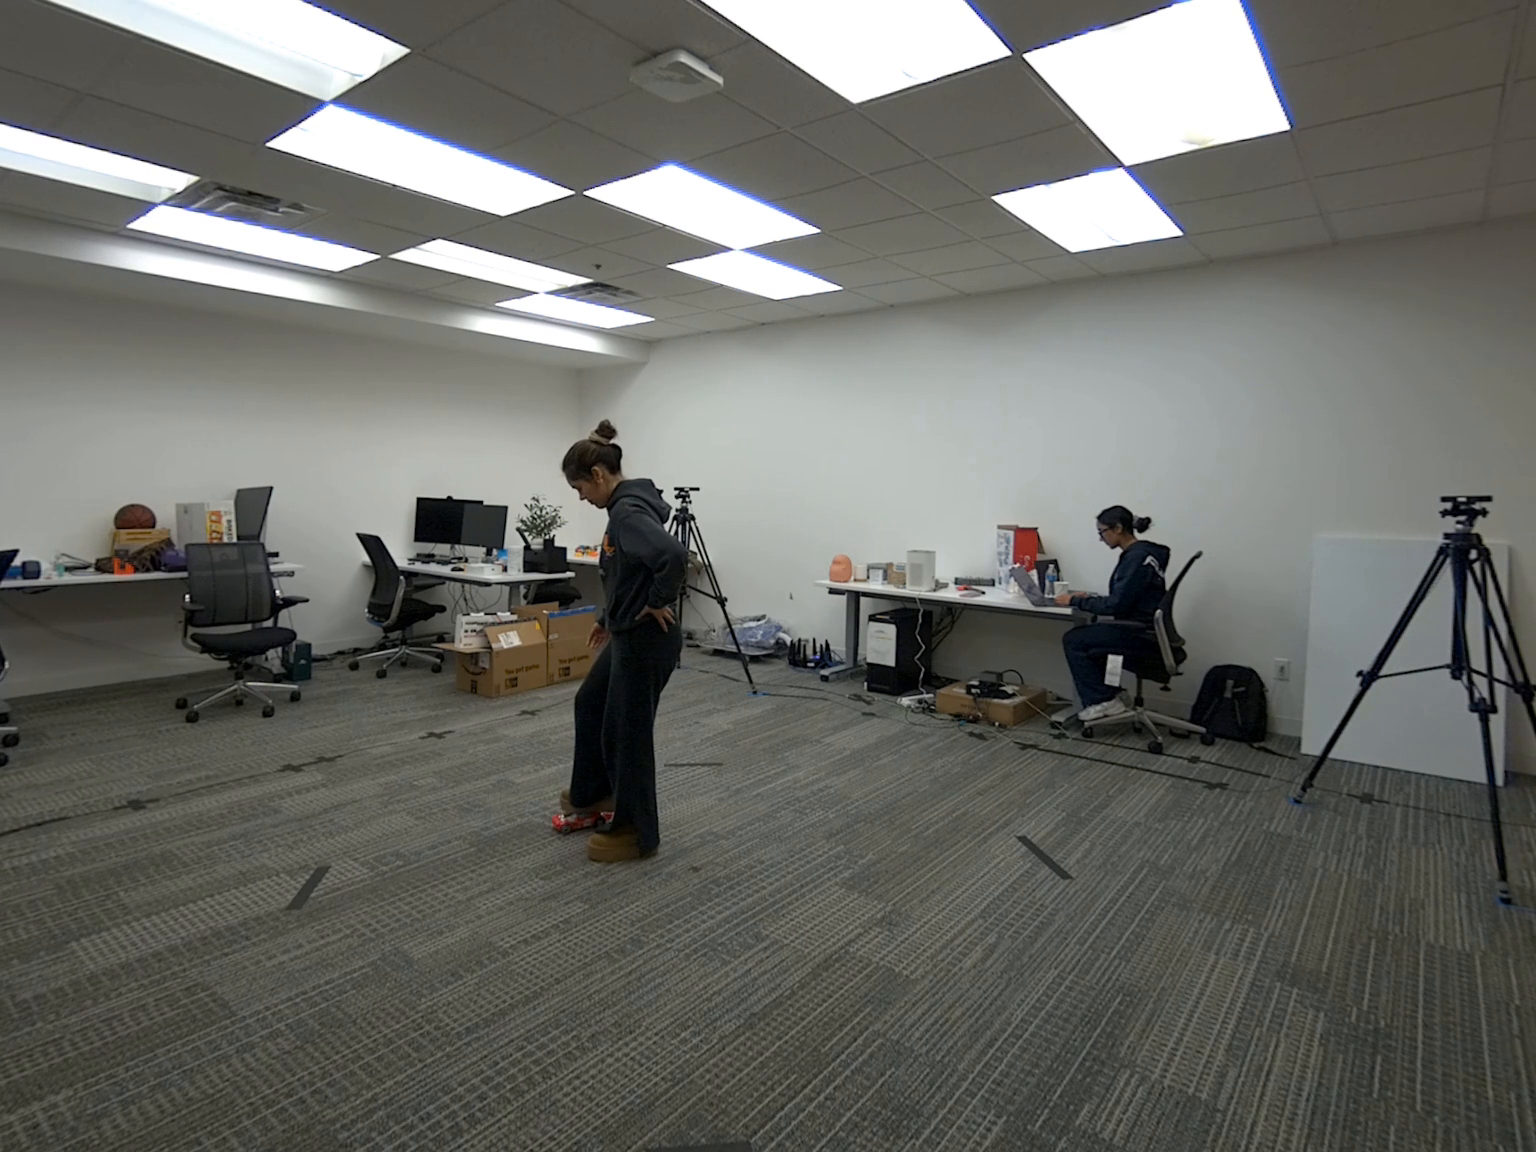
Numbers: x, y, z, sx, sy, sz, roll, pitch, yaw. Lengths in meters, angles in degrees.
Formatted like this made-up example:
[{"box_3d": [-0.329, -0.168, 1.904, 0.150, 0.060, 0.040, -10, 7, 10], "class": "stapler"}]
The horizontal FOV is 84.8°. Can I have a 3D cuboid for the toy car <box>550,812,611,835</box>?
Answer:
[{"box_3d": [-0.757, 0.994, 3.485, 0.250, 0.082, 0.134, -14, 12, -24], "class": "toy car"}]
